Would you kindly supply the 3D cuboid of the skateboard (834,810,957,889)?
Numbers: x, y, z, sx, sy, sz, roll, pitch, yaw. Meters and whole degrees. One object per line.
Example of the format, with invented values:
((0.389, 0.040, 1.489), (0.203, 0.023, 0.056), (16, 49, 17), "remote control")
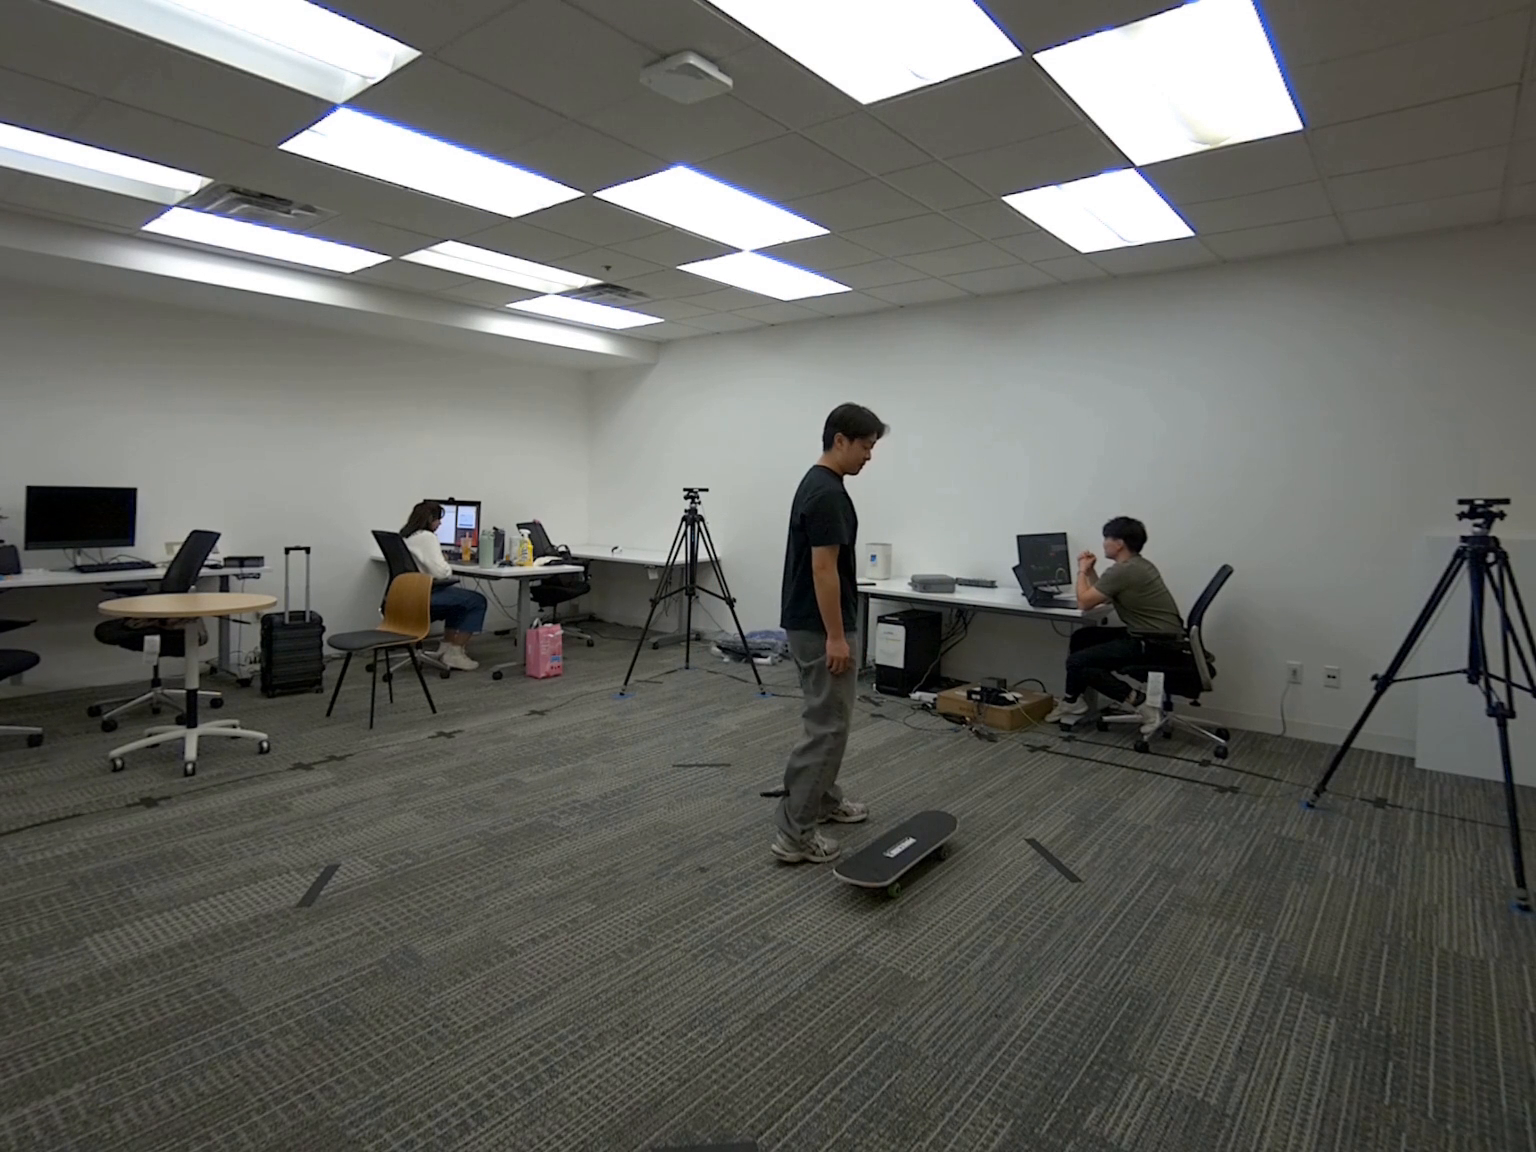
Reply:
((0.476, 1.024, 3.134), (0.200, 0.110, 0.763), (5, 7, 36), "skateboard")
